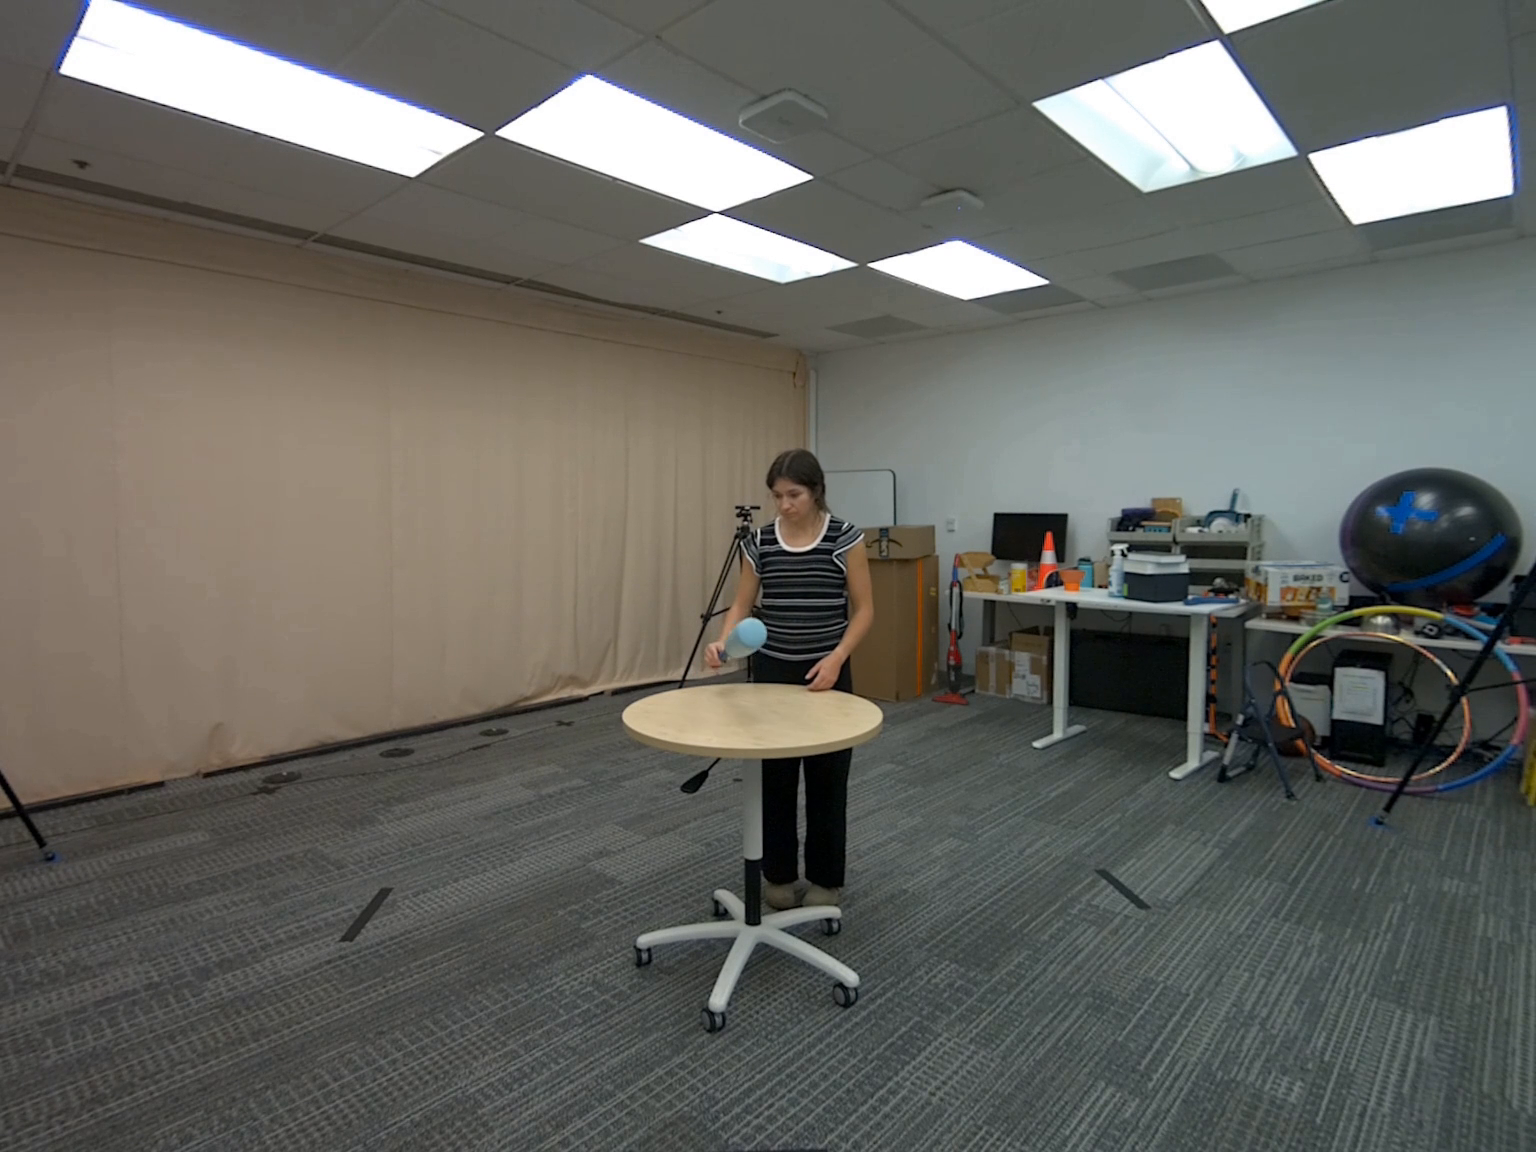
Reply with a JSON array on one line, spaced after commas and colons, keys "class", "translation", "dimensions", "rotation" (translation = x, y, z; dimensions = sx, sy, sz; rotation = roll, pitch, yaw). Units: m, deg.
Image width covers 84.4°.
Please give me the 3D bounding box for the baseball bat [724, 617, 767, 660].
[{"class": "baseball bat", "translation": [-0.105, 0.216, 2.505], "dimensions": [0.088, 0.090, 0.543], "rotation": [0, -14, -12]}]
